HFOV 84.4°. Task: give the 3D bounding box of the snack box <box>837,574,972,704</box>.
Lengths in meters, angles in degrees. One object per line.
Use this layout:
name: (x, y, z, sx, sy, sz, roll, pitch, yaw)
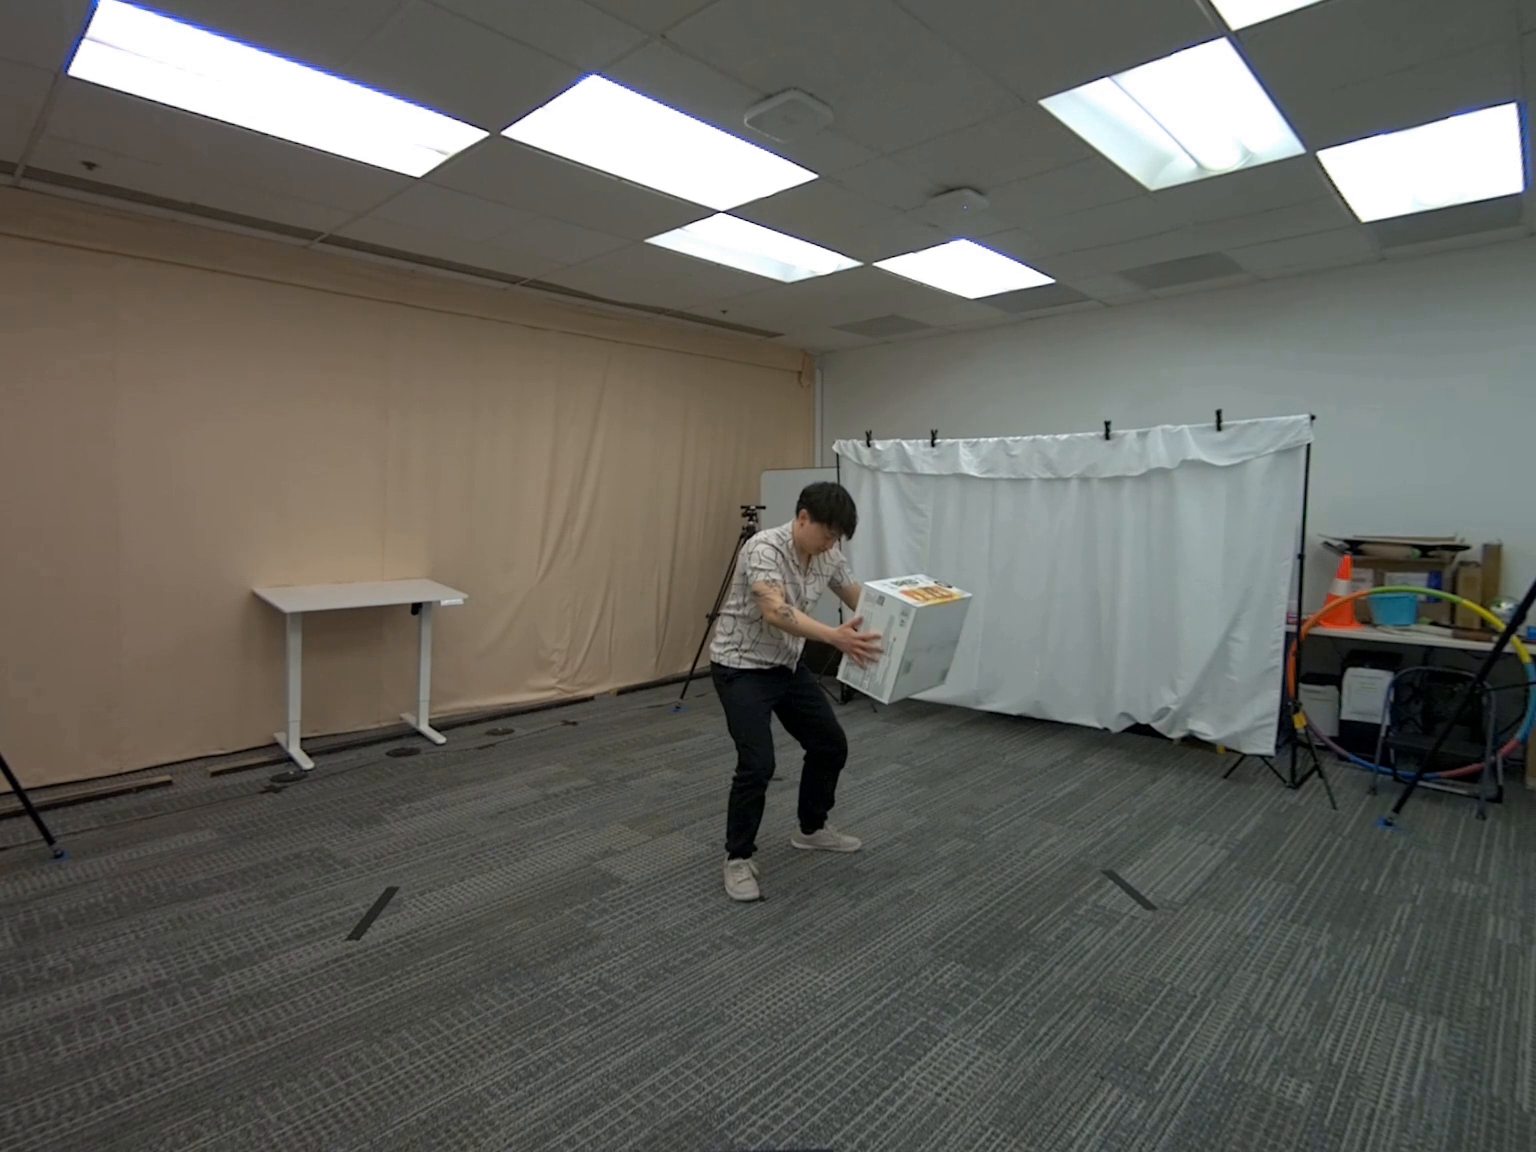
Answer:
snack box: (0.470, 0.209, 2.821, 0.213, 0.338, 0.393, 24, 18, 35)
